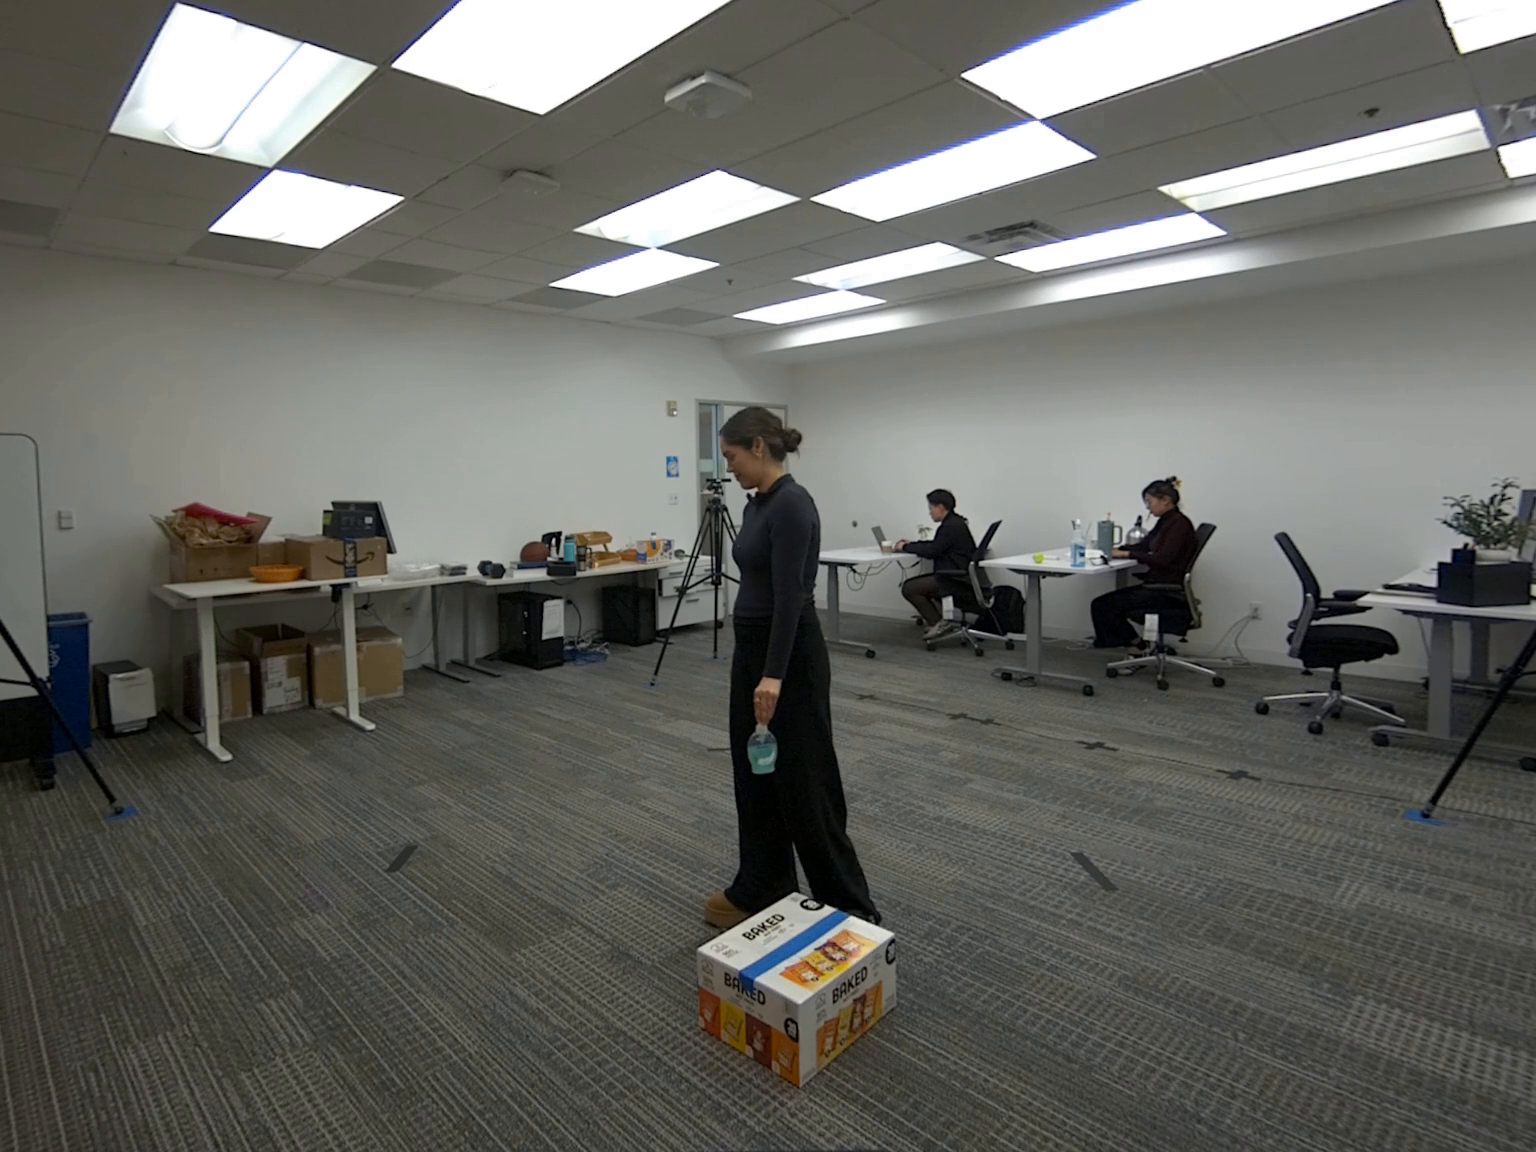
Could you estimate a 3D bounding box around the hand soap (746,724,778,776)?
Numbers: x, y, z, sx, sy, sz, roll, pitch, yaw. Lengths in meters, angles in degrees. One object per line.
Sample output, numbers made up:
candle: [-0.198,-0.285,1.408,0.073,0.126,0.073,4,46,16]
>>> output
hand soap: [-0.017,0.465,2.381,0.083,0.168,0.044,-5,2,-20]
